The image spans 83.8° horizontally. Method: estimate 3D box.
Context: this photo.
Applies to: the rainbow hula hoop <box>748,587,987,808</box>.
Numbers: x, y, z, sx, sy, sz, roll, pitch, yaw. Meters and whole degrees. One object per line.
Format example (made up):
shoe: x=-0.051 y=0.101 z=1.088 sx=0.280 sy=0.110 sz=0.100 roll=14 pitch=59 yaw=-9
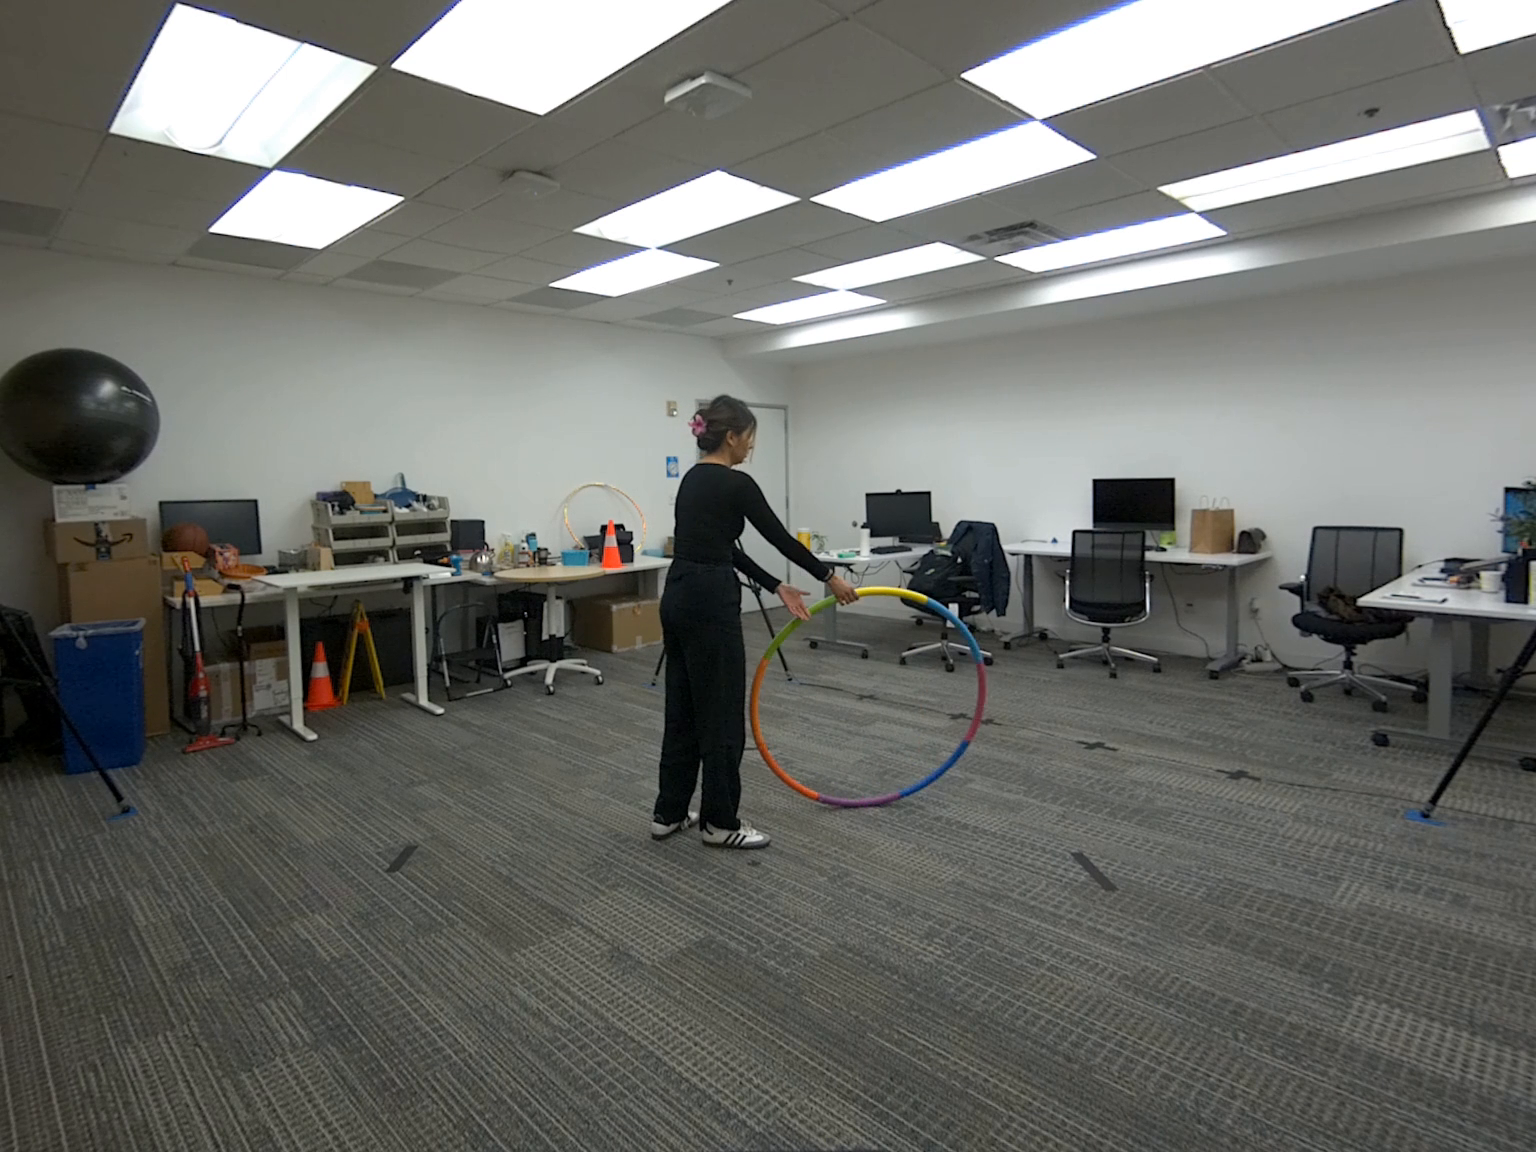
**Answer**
rainbow hula hoop: x=0.411 y=0.513 z=3.522 sx=0.973 sy=0.965 sz=0.036 roll=-1 pitch=15 yaw=-5
